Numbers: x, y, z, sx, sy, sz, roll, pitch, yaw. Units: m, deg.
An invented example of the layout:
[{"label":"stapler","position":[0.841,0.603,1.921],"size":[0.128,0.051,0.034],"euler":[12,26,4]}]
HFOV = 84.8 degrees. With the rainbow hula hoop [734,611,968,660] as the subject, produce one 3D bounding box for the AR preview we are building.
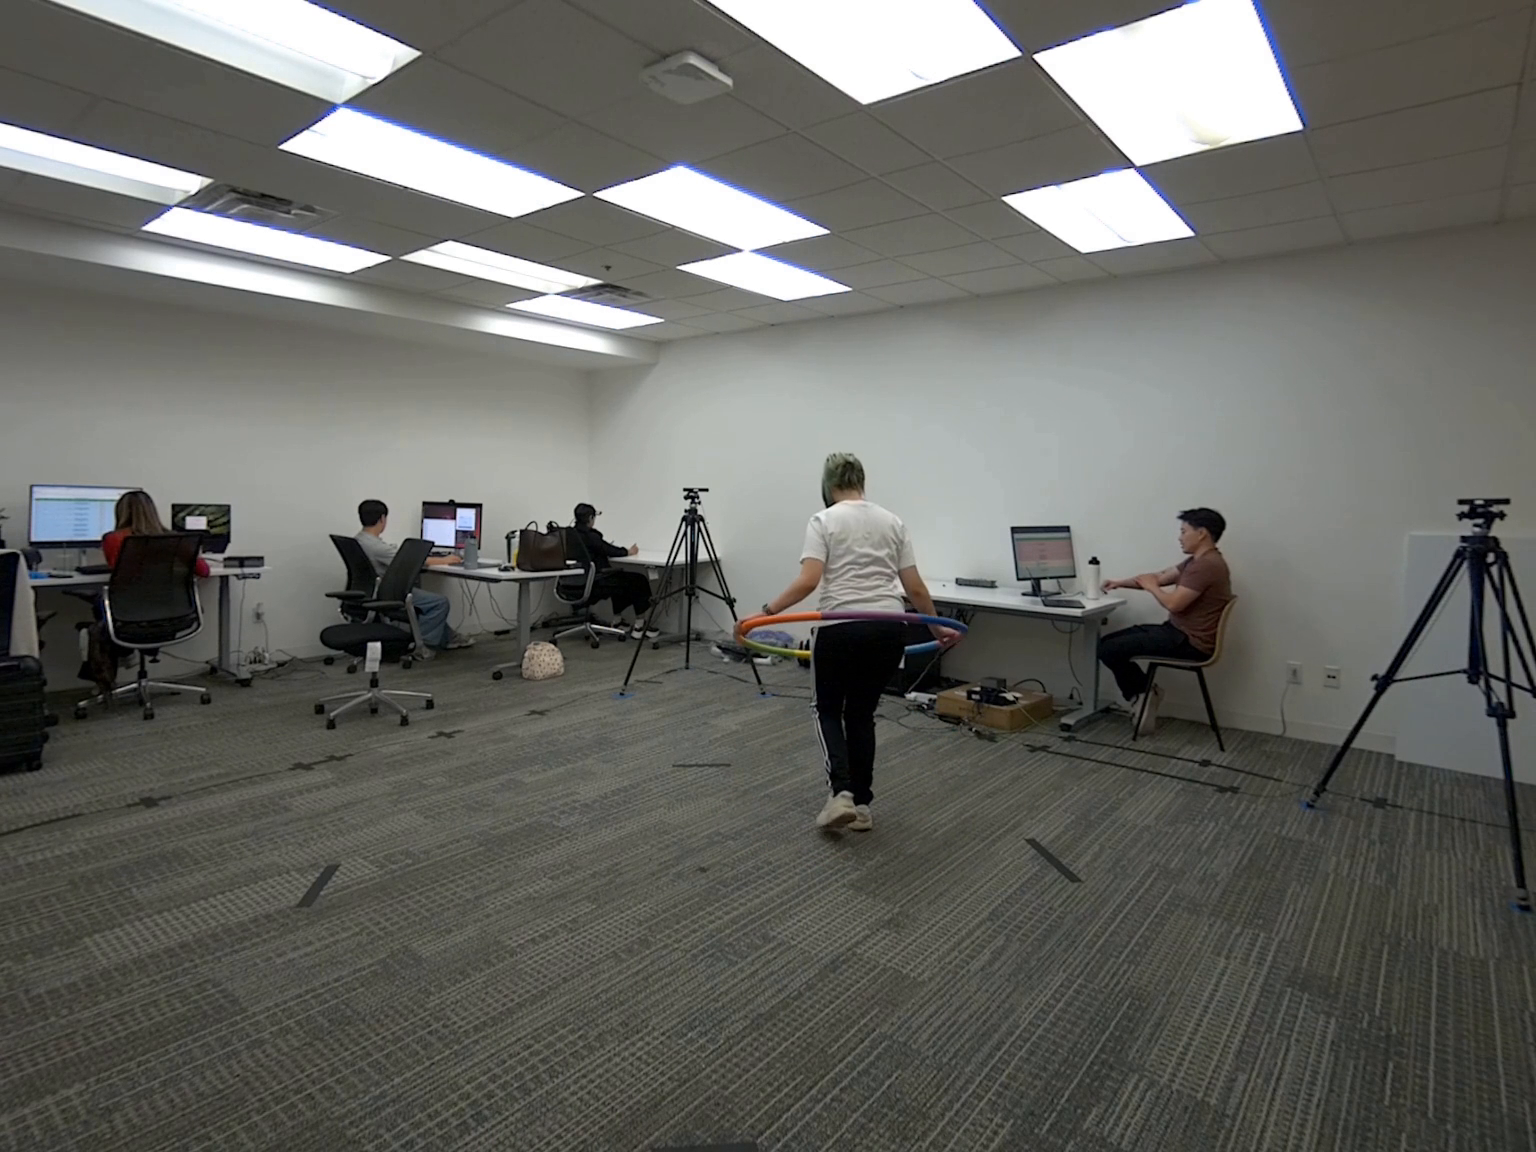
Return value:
[{"label":"rainbow hula hoop","position":[0.321,0.250,3.594],"size":[0.985,0.052,0.971],"euler":[1,-15,-2]}]
